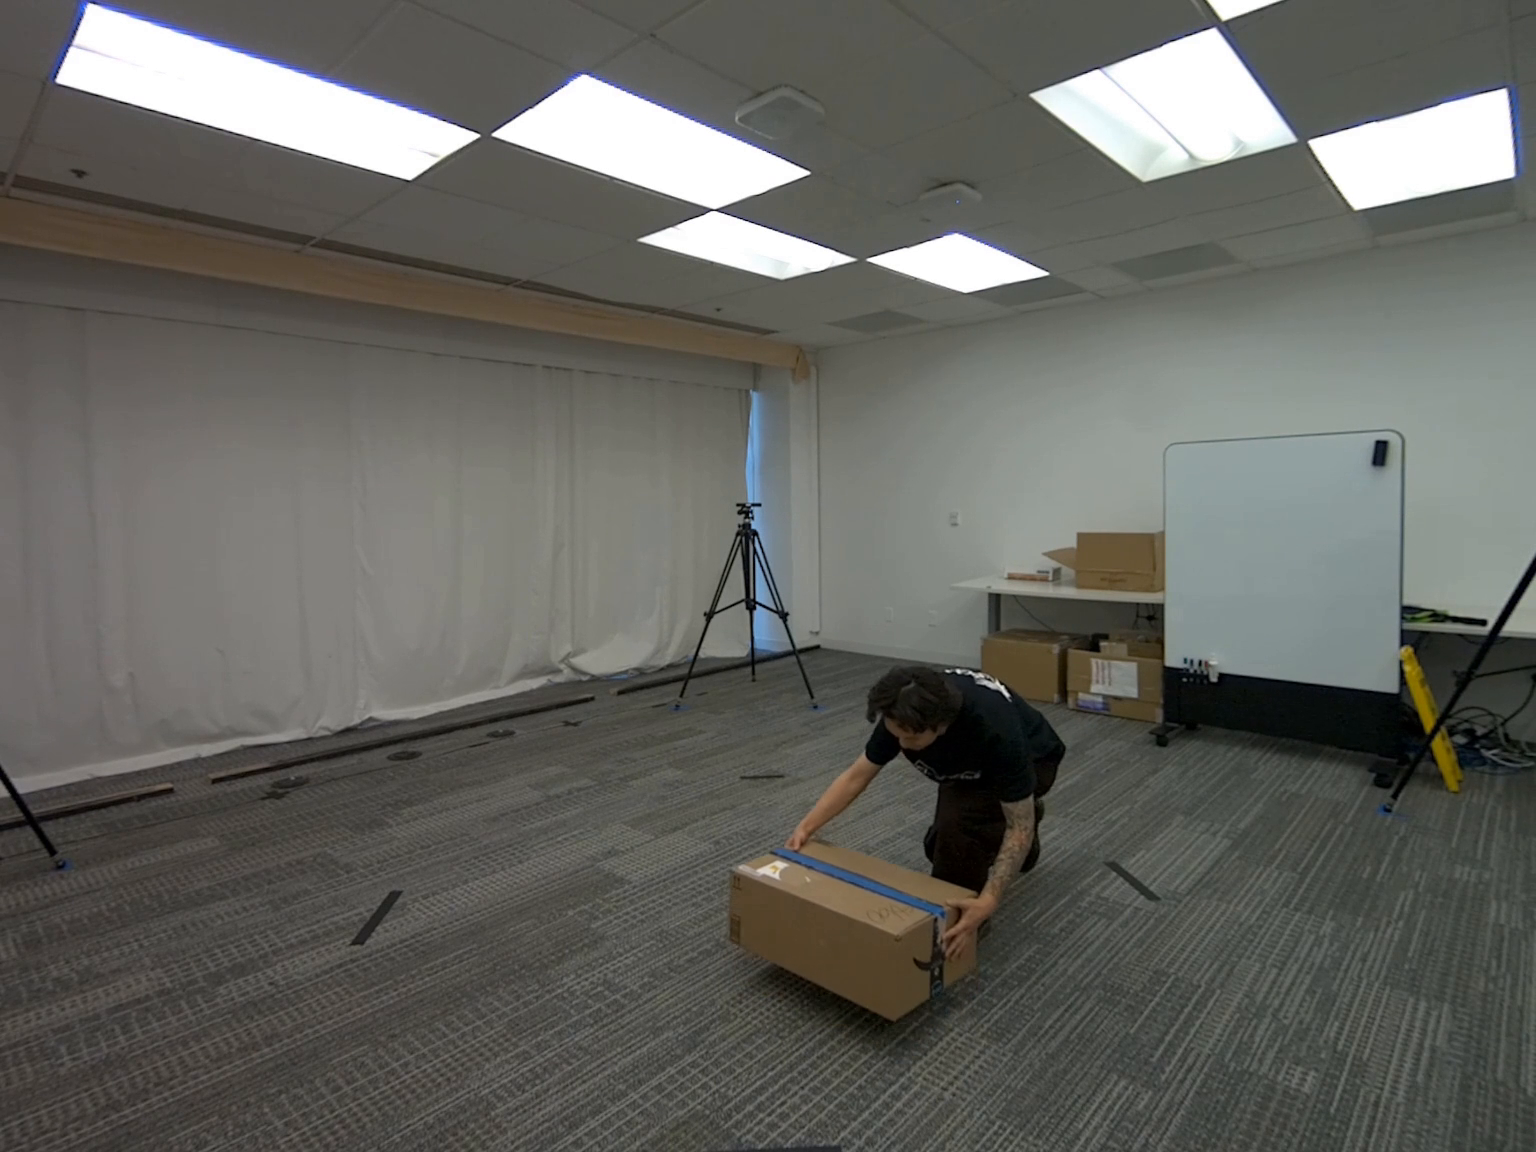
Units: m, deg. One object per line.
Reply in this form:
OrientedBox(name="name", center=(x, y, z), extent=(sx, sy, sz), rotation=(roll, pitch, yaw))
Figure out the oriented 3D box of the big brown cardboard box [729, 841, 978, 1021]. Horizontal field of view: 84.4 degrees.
OrientedBox(name="big brown cardboard box", center=(0.239, 0.960, 2.408), extent=(0.609, 0.233, 0.404), rotation=(6, 4, 42))
